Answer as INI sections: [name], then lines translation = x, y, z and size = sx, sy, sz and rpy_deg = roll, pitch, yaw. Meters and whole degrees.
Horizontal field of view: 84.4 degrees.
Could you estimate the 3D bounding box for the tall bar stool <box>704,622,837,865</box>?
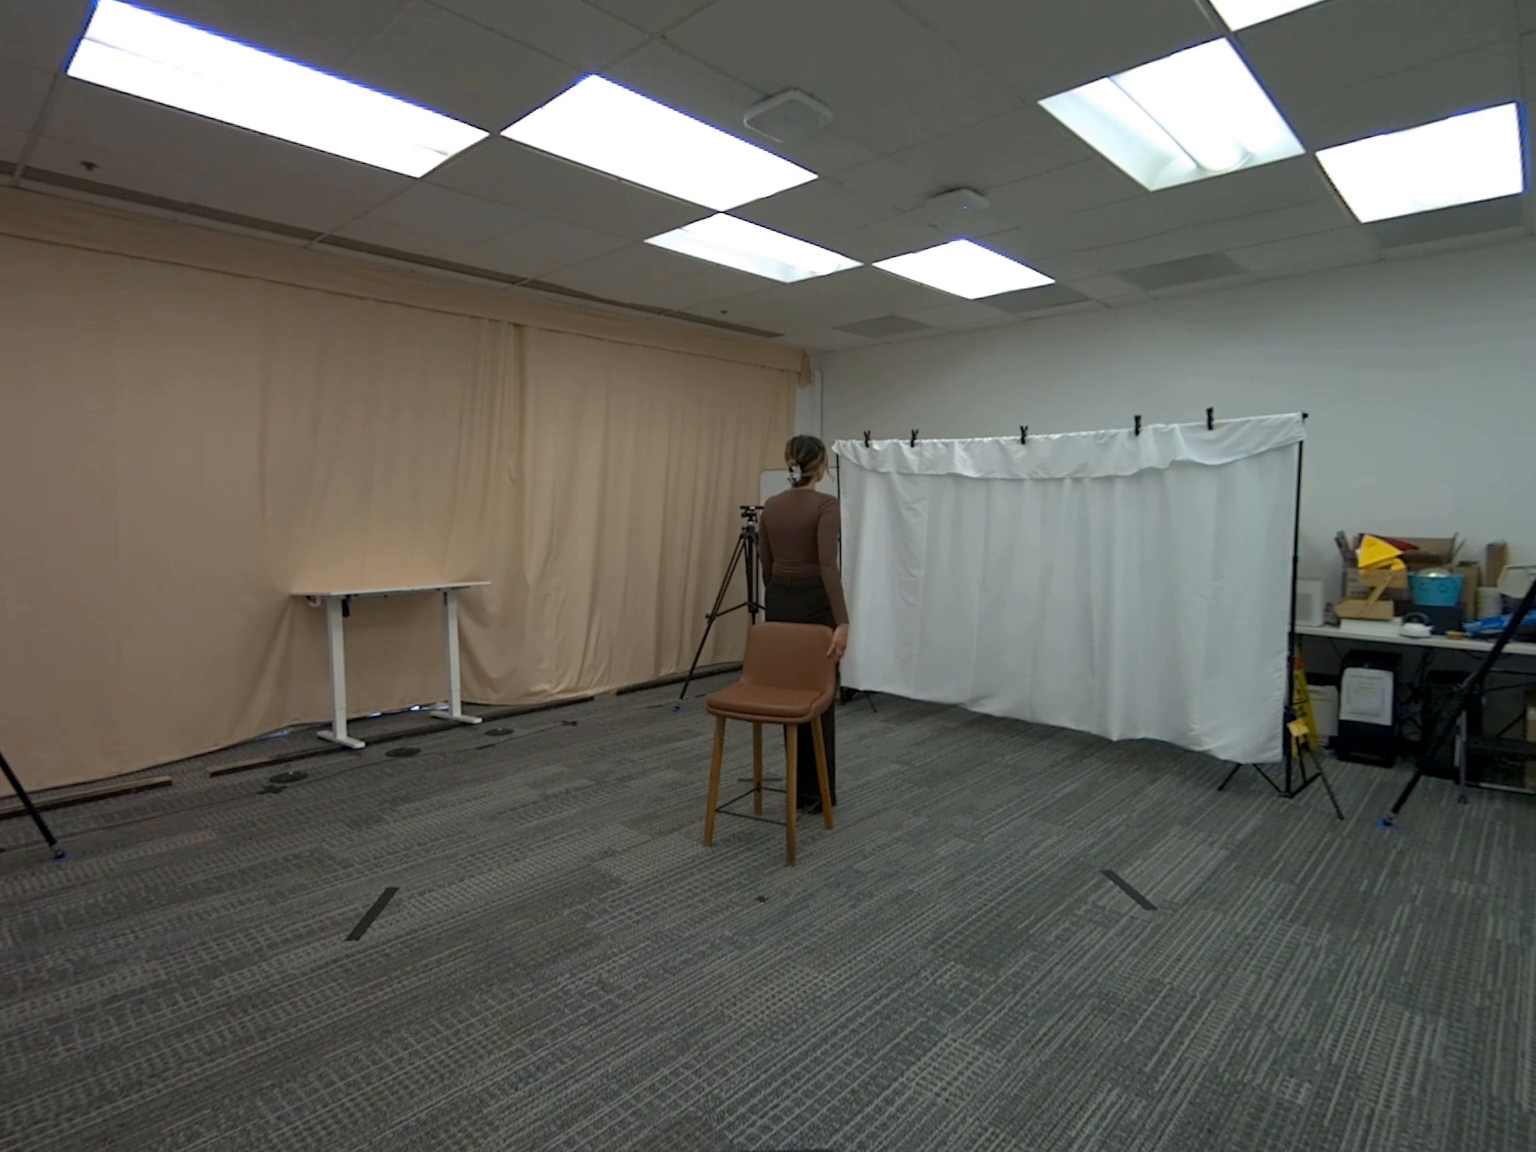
[tall bar stool]
translation = 0.020, 0.660, 3.527
size = 0.470, 0.889, 0.455
rpy_deg = 2, 1, 30
